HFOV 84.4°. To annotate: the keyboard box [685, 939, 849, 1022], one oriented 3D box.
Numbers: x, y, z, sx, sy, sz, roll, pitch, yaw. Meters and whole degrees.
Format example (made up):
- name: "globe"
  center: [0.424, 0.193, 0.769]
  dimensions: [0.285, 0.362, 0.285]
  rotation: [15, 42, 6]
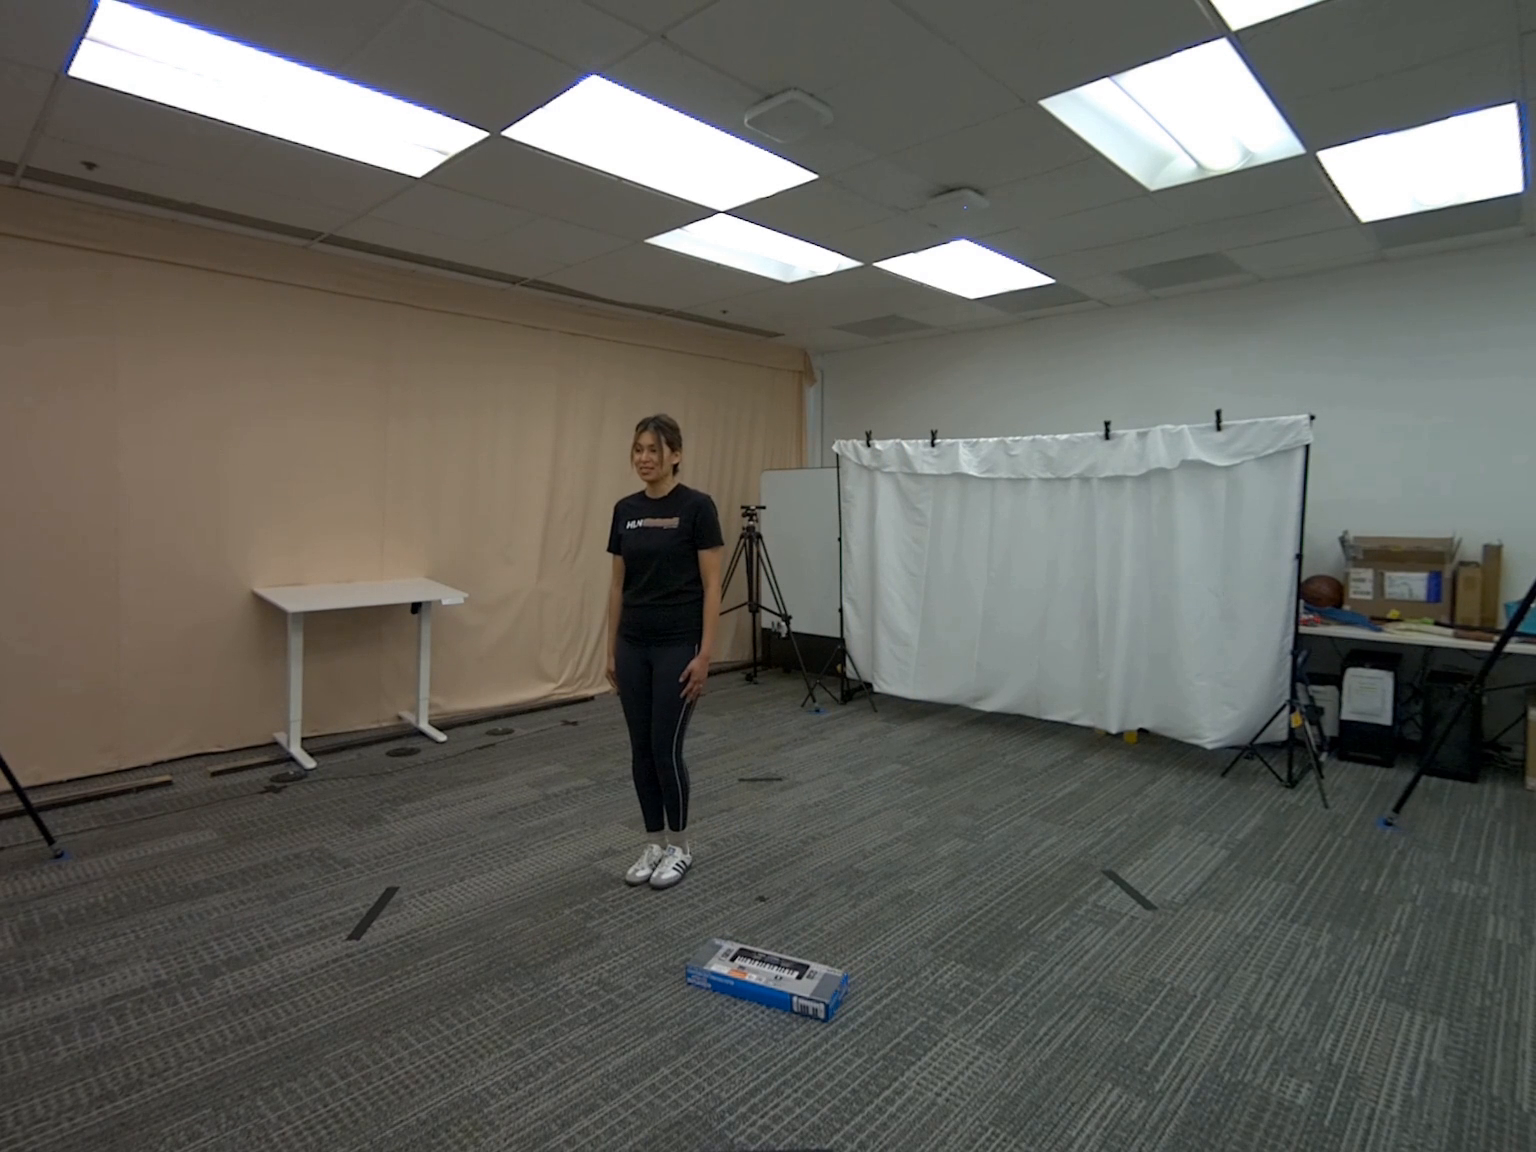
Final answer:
- name: "keyboard box"
  center: [-0.004, 1.161, 2.428]
  dimensions: [0.448, 0.059, 0.172]
  rotation: [2, 6, 26]
